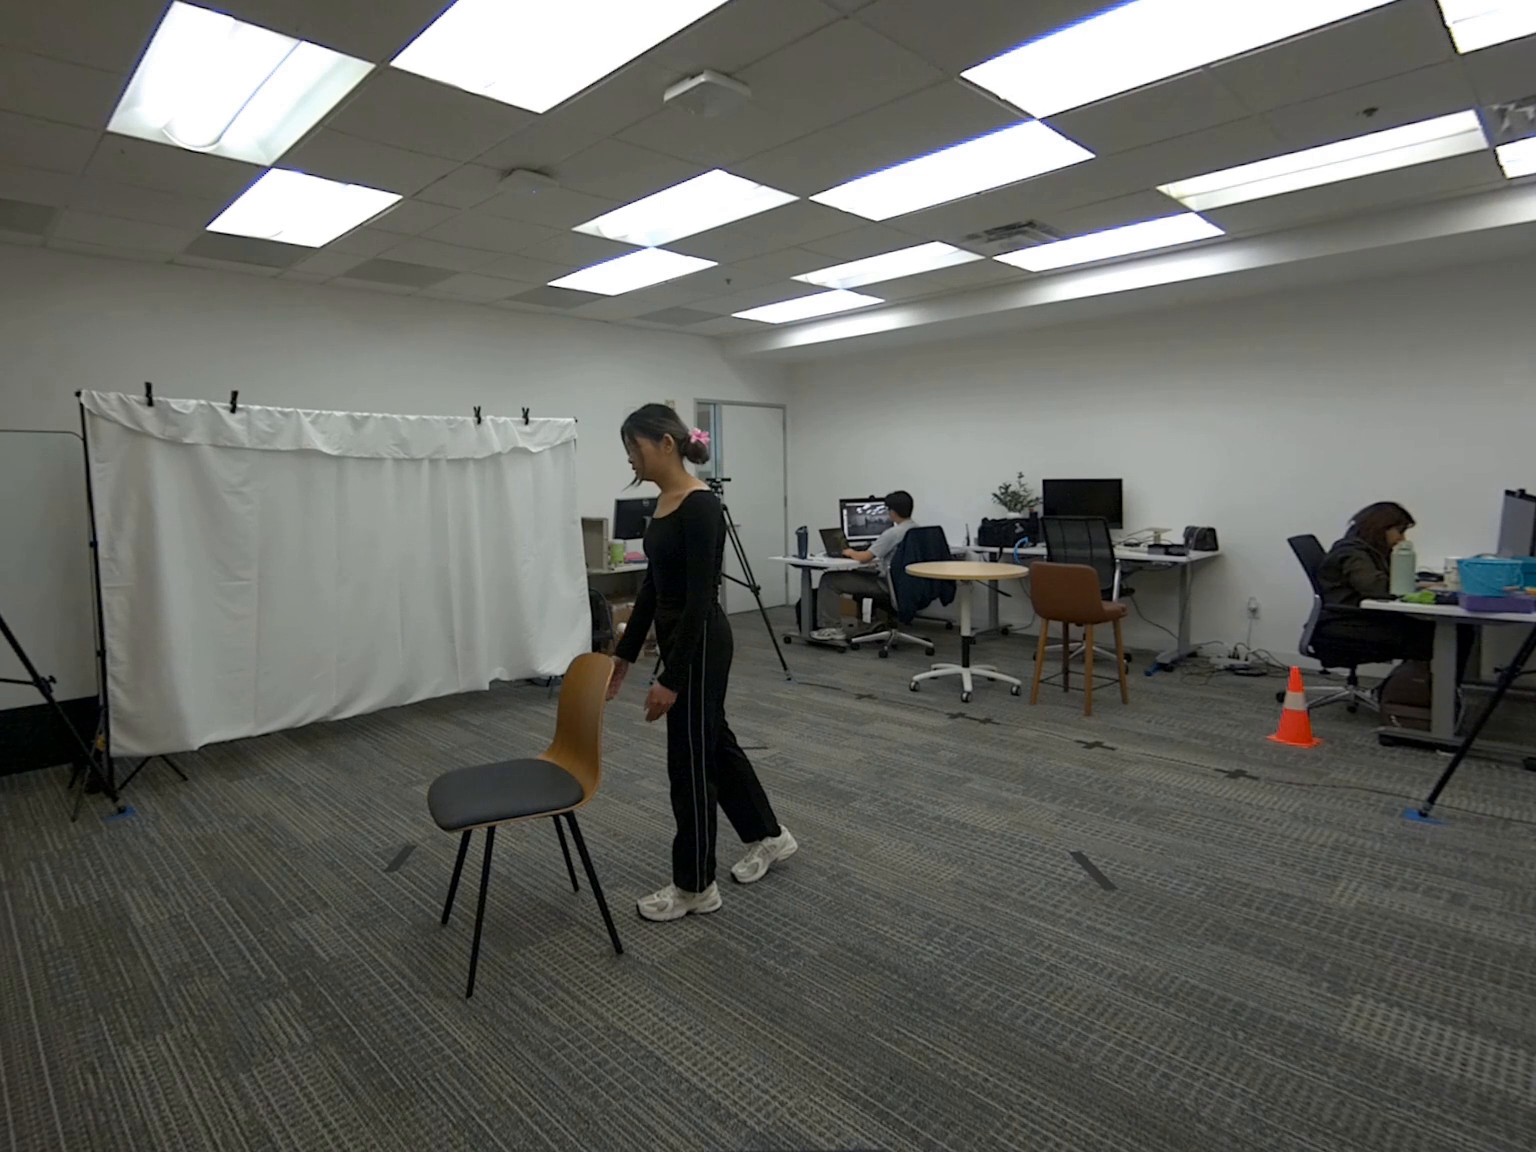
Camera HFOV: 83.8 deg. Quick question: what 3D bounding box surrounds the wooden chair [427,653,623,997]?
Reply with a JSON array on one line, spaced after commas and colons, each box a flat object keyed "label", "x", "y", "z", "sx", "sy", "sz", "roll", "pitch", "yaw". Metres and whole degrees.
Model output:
[{"label": "wooden chair", "x": -0.746, "y": 0.690, "z": 2.582, "sx": 0.510, "sy": 0.875, "sz": 0.491, "roll": 1, "pitch": 3, "yaw": -29}]
